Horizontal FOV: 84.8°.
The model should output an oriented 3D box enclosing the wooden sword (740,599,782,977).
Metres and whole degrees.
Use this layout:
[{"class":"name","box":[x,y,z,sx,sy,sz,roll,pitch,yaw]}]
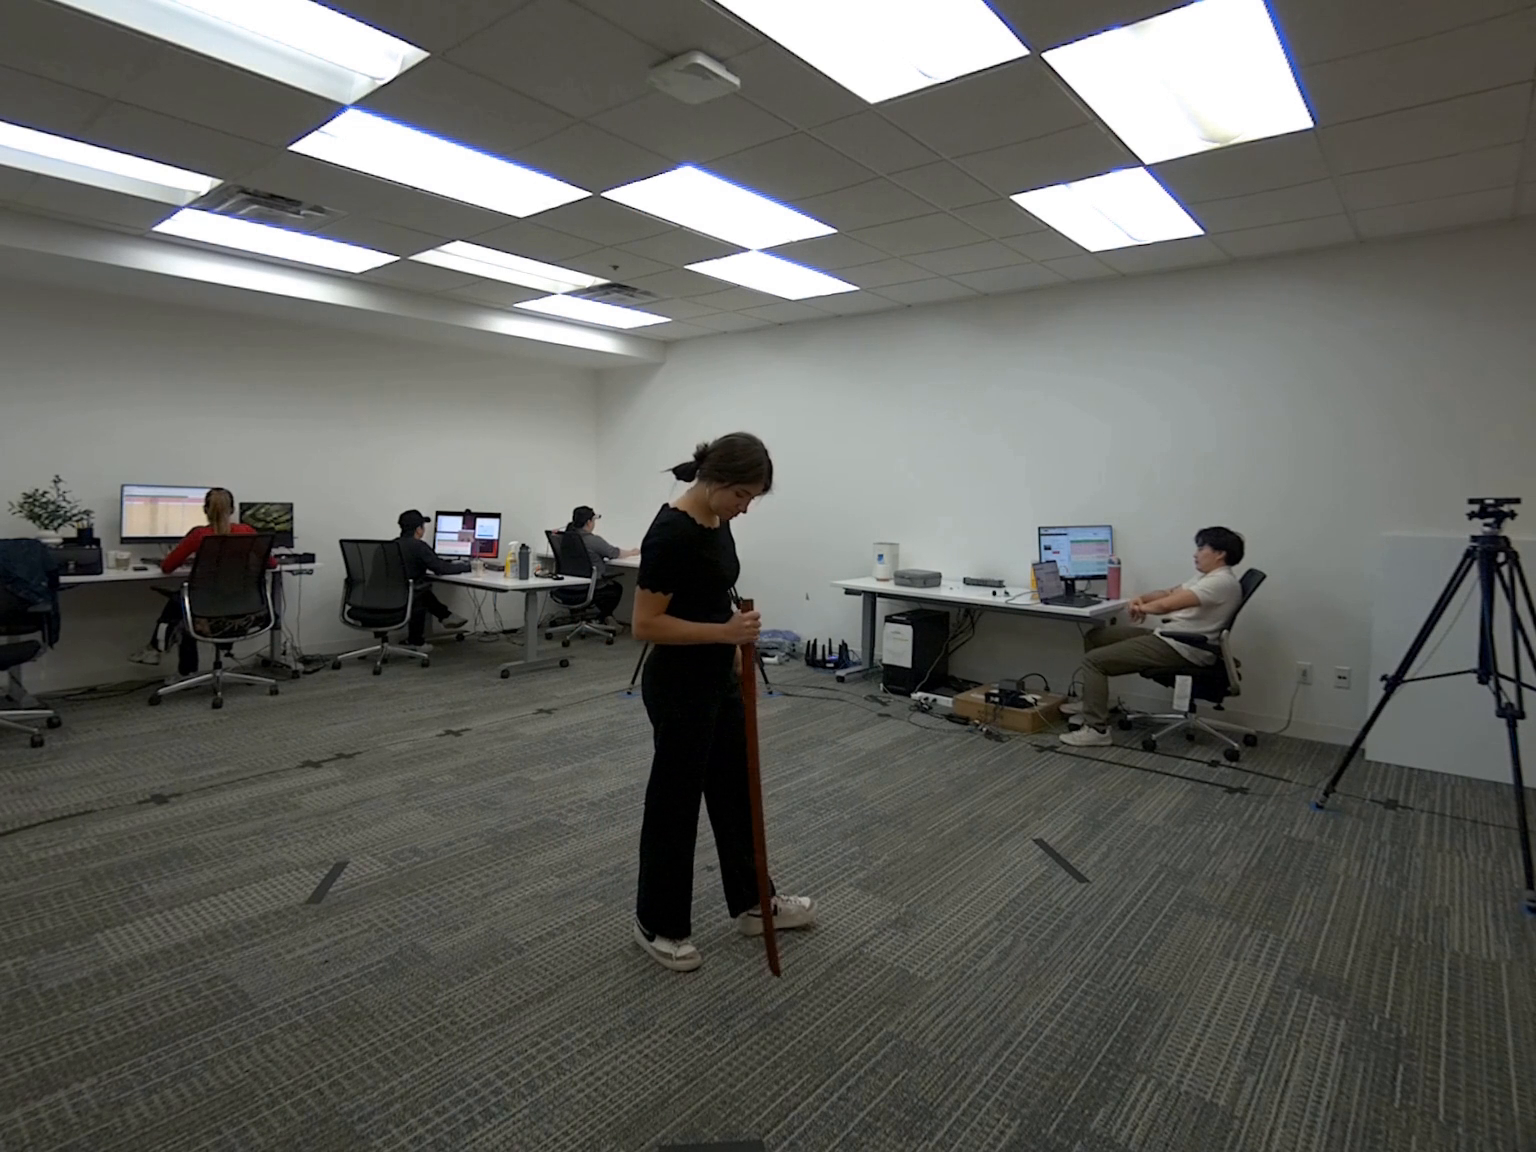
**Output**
[{"class":"wooden sword","box":[-0.042,0.591,2.327,0.023,1.024,0.053,-5,1,-43]}]
